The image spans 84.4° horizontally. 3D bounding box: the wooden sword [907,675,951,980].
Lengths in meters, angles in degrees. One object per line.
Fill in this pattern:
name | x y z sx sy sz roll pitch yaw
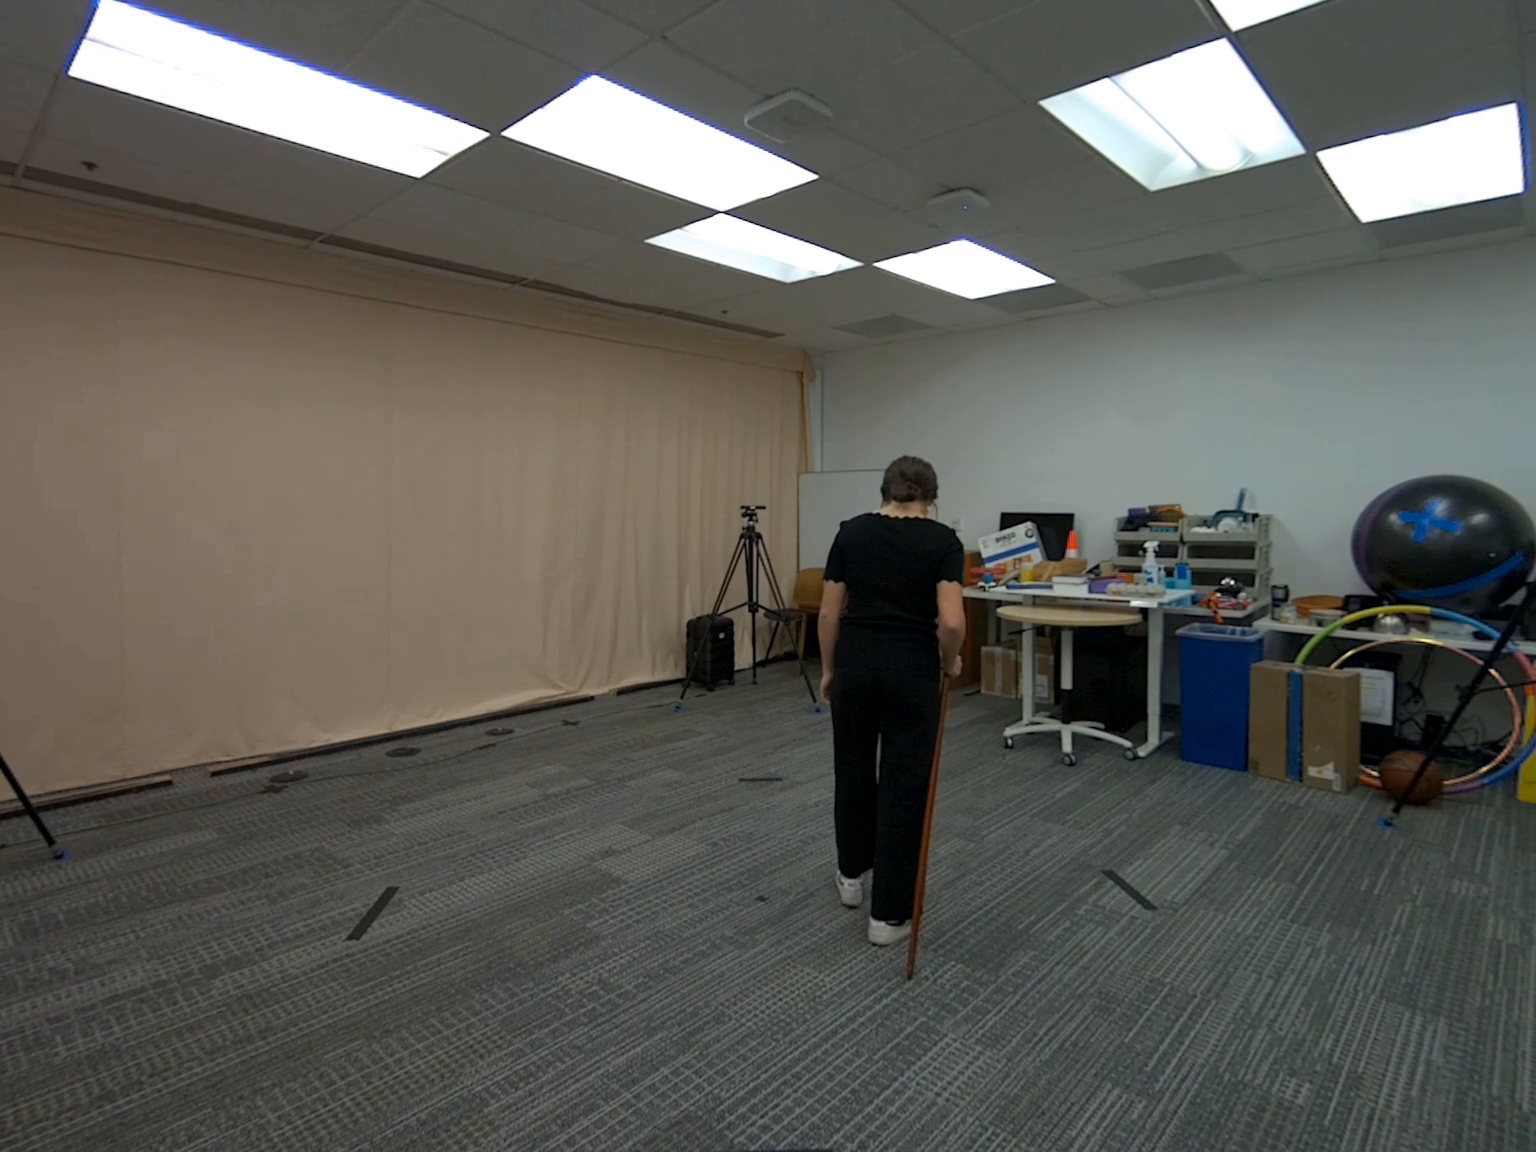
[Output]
wooden sword | 0.530 0.707 2.617 0.025 1.029 0.049 6 -19 29
